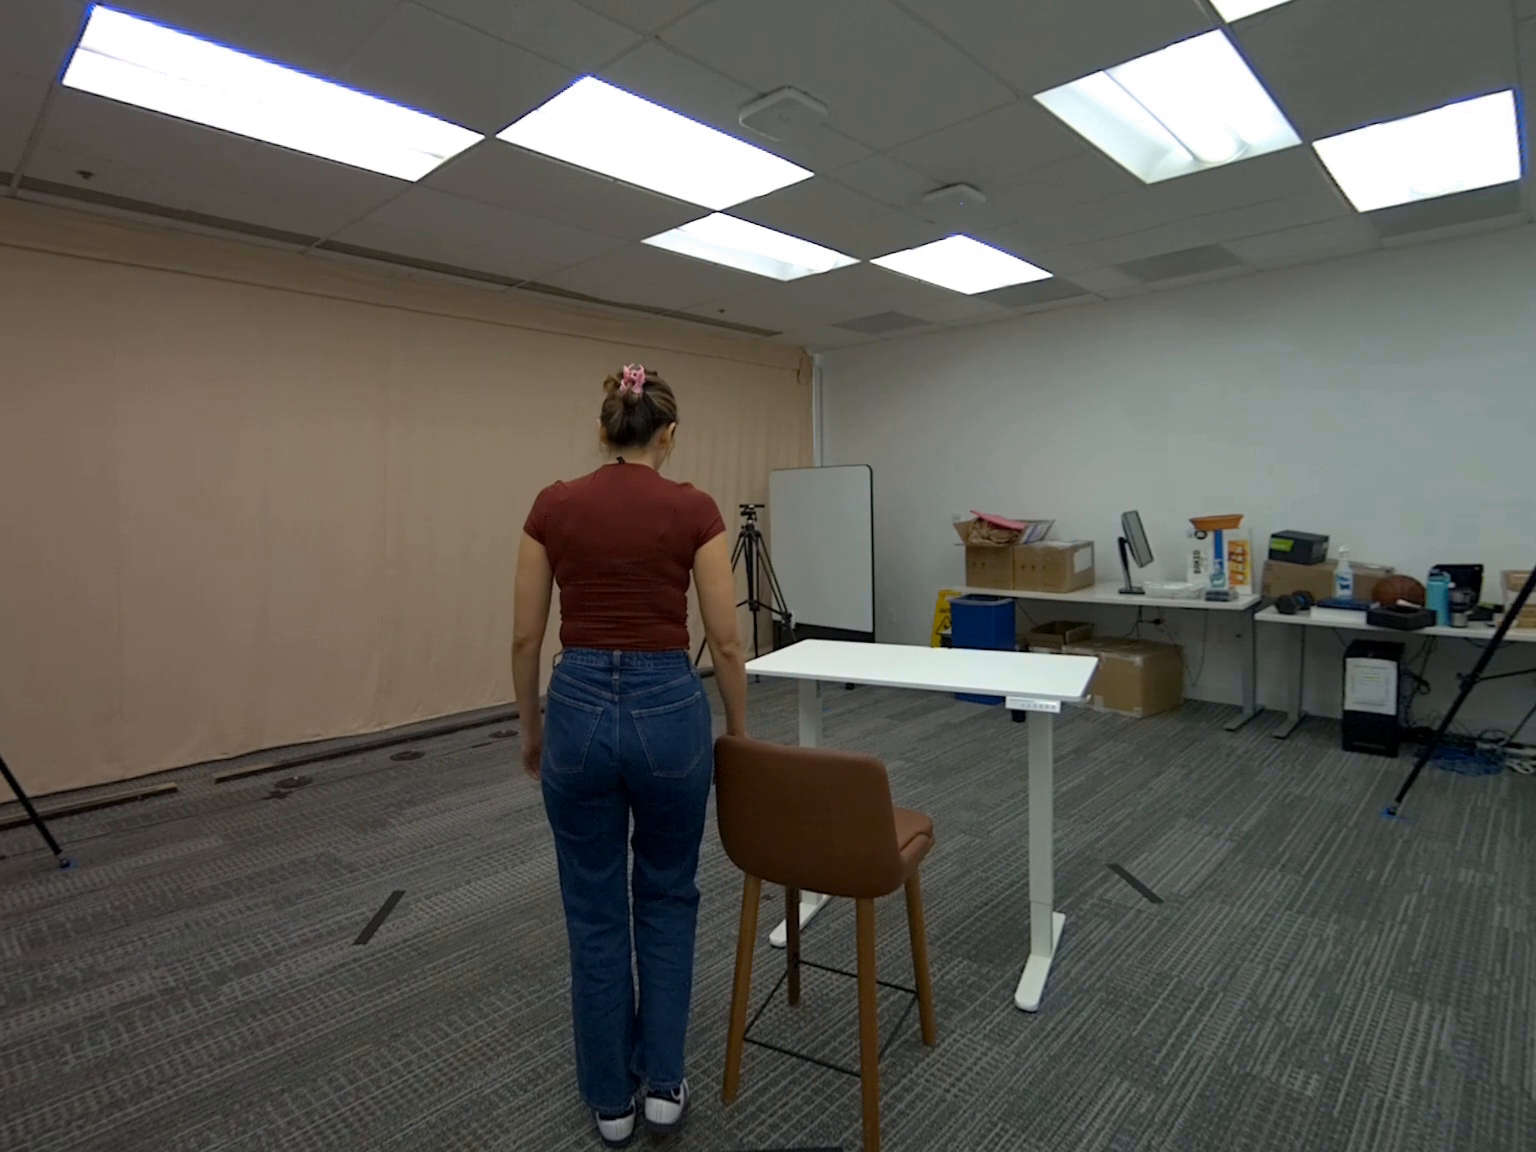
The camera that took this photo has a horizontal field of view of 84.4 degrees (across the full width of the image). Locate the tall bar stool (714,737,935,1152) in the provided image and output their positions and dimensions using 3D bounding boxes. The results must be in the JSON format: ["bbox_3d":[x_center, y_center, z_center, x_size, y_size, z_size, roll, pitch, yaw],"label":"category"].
[{"bbox_3d":[0.152,0.784,2.042,0.469,0.887,0.457,2,6,27],"label":"tall bar stool"}]
